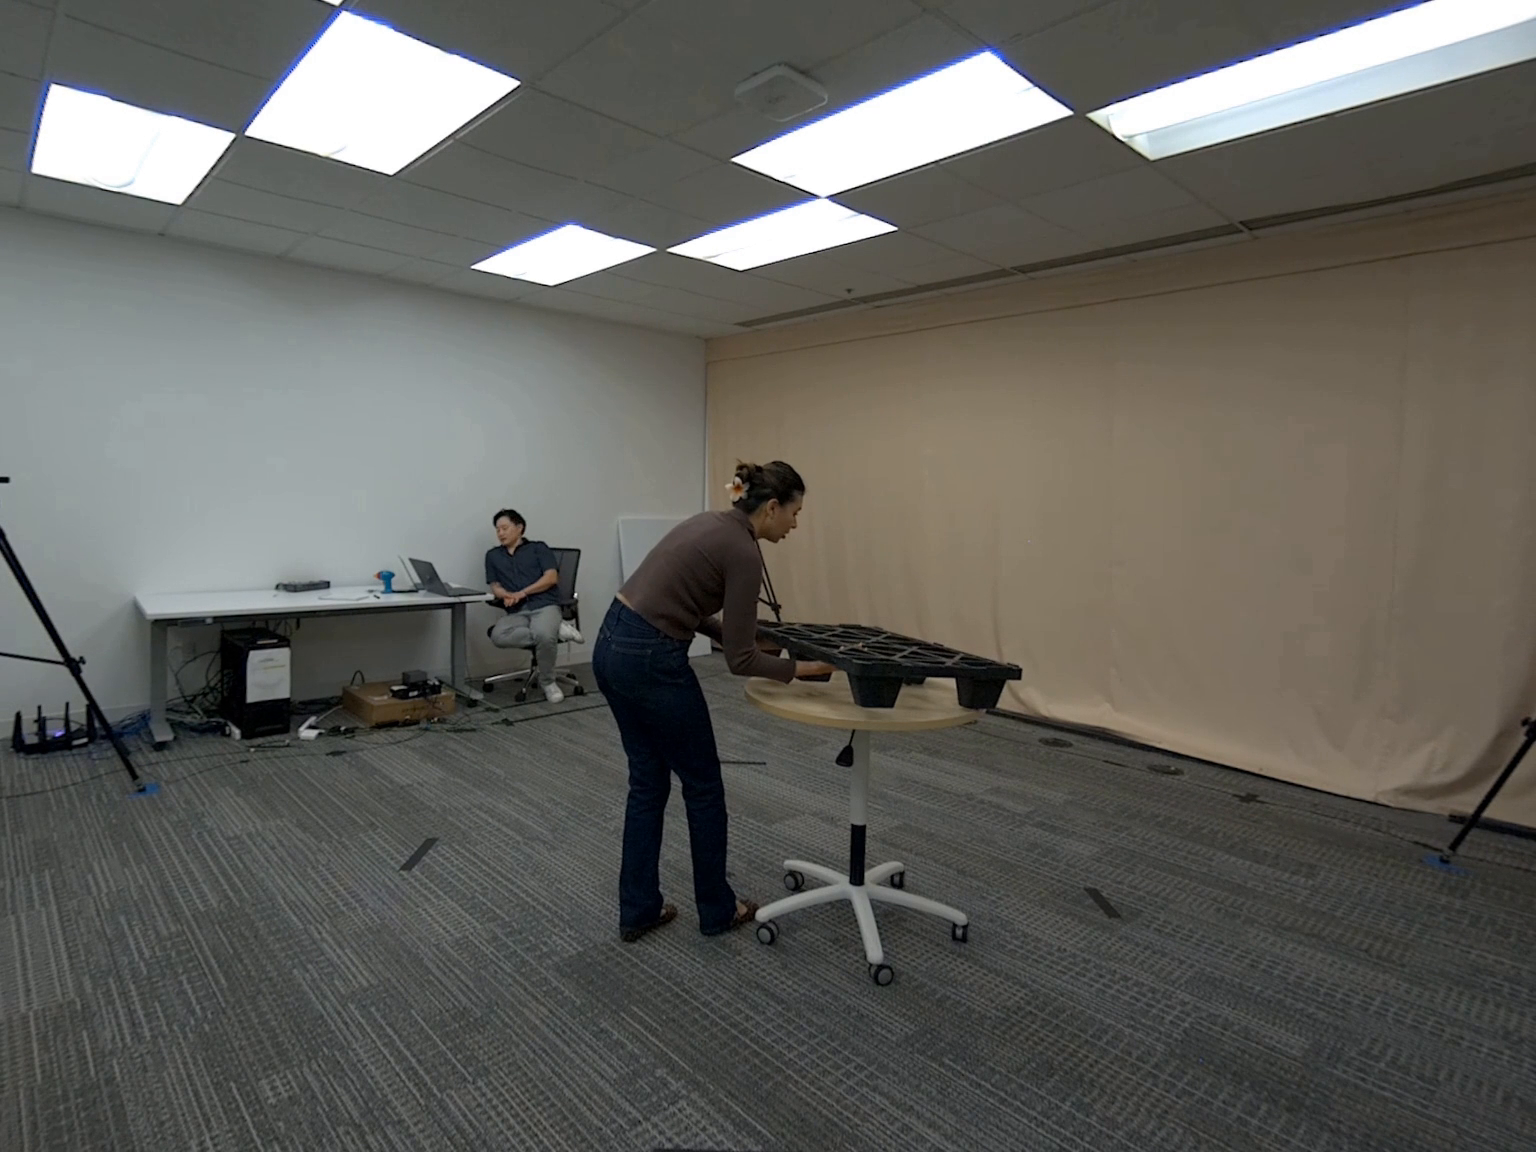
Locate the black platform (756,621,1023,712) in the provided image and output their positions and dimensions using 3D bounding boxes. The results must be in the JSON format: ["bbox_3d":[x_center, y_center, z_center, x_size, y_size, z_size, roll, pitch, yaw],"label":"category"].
[{"bbox_3d":[0.311,0.278,2.730,0.593,0.143,0.823,4,4,-27],"label":"black platform"}]
